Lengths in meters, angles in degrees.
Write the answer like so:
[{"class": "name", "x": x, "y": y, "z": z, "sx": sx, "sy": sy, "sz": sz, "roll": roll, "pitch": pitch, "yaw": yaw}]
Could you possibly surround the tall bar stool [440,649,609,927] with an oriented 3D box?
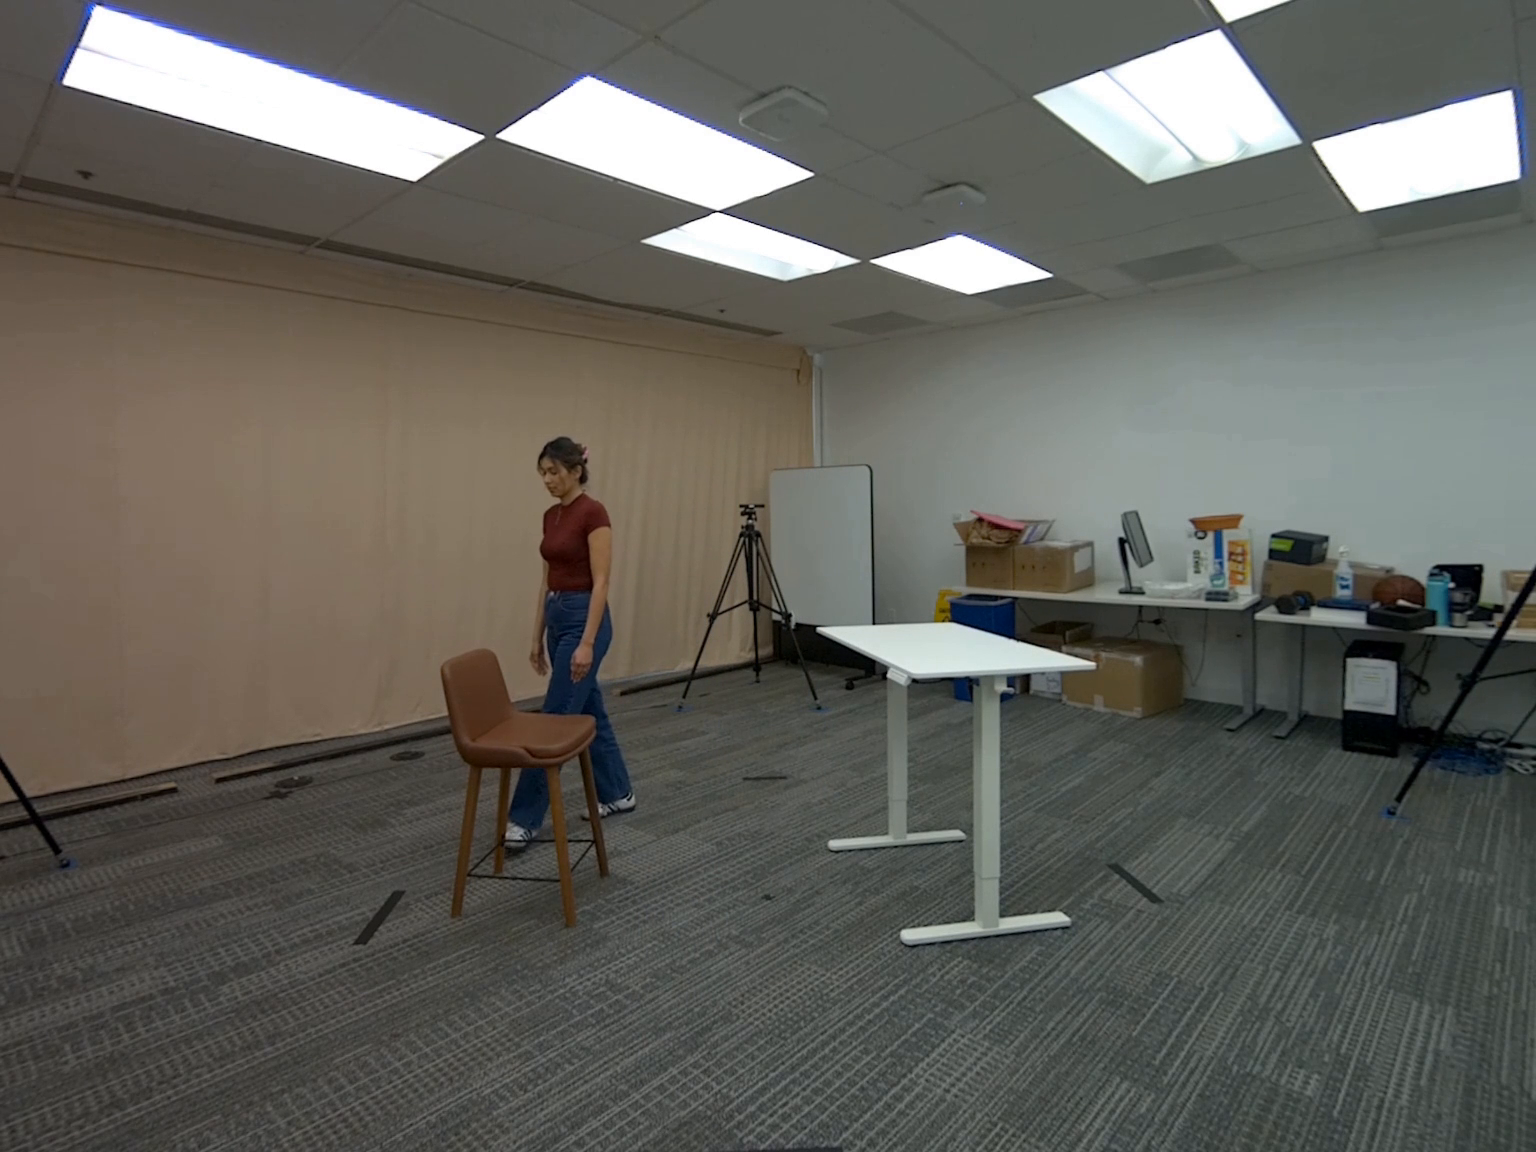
[{"class": "tall bar stool", "x": -0.860, "y": 0.728, "z": 3.017, "sx": 0.472, "sy": 0.888, "sz": 0.453, "roll": -2, "pitch": 3, "yaw": 8}]
